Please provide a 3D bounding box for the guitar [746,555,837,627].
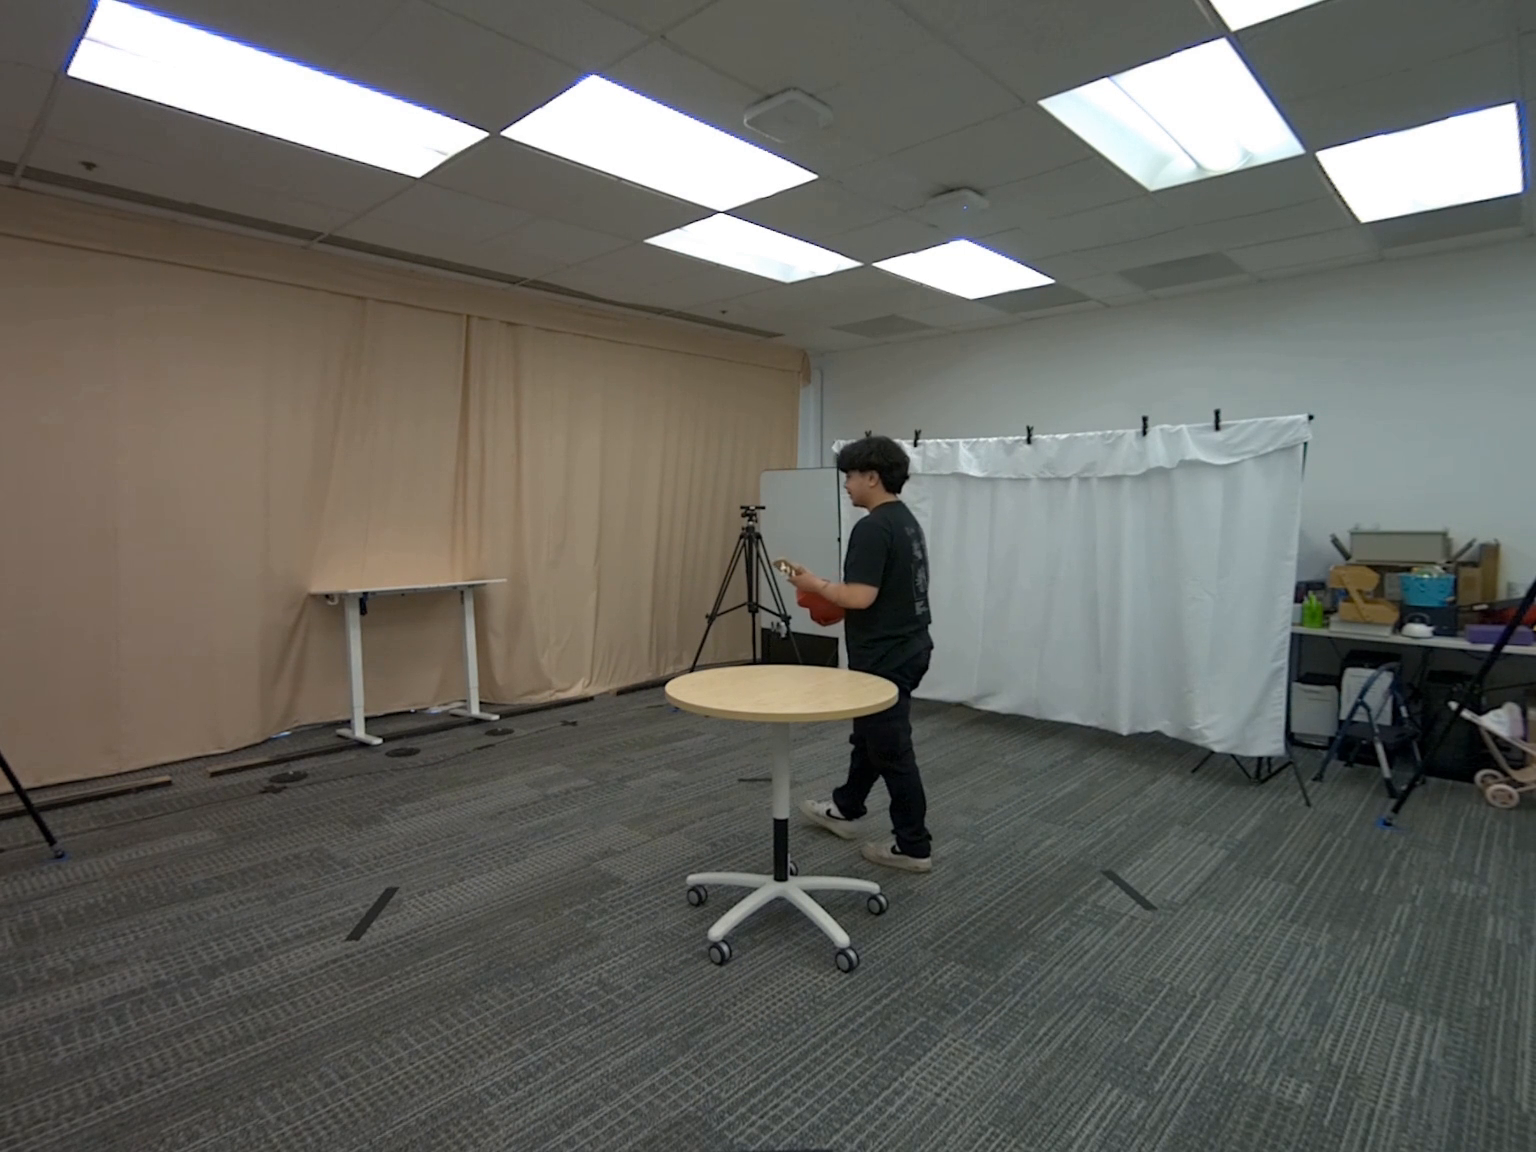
[{"bbox_3d":[0.153,0.065,3.376,0.196,0.072,0.480,-28,-37,35],"label":"guitar"}]
